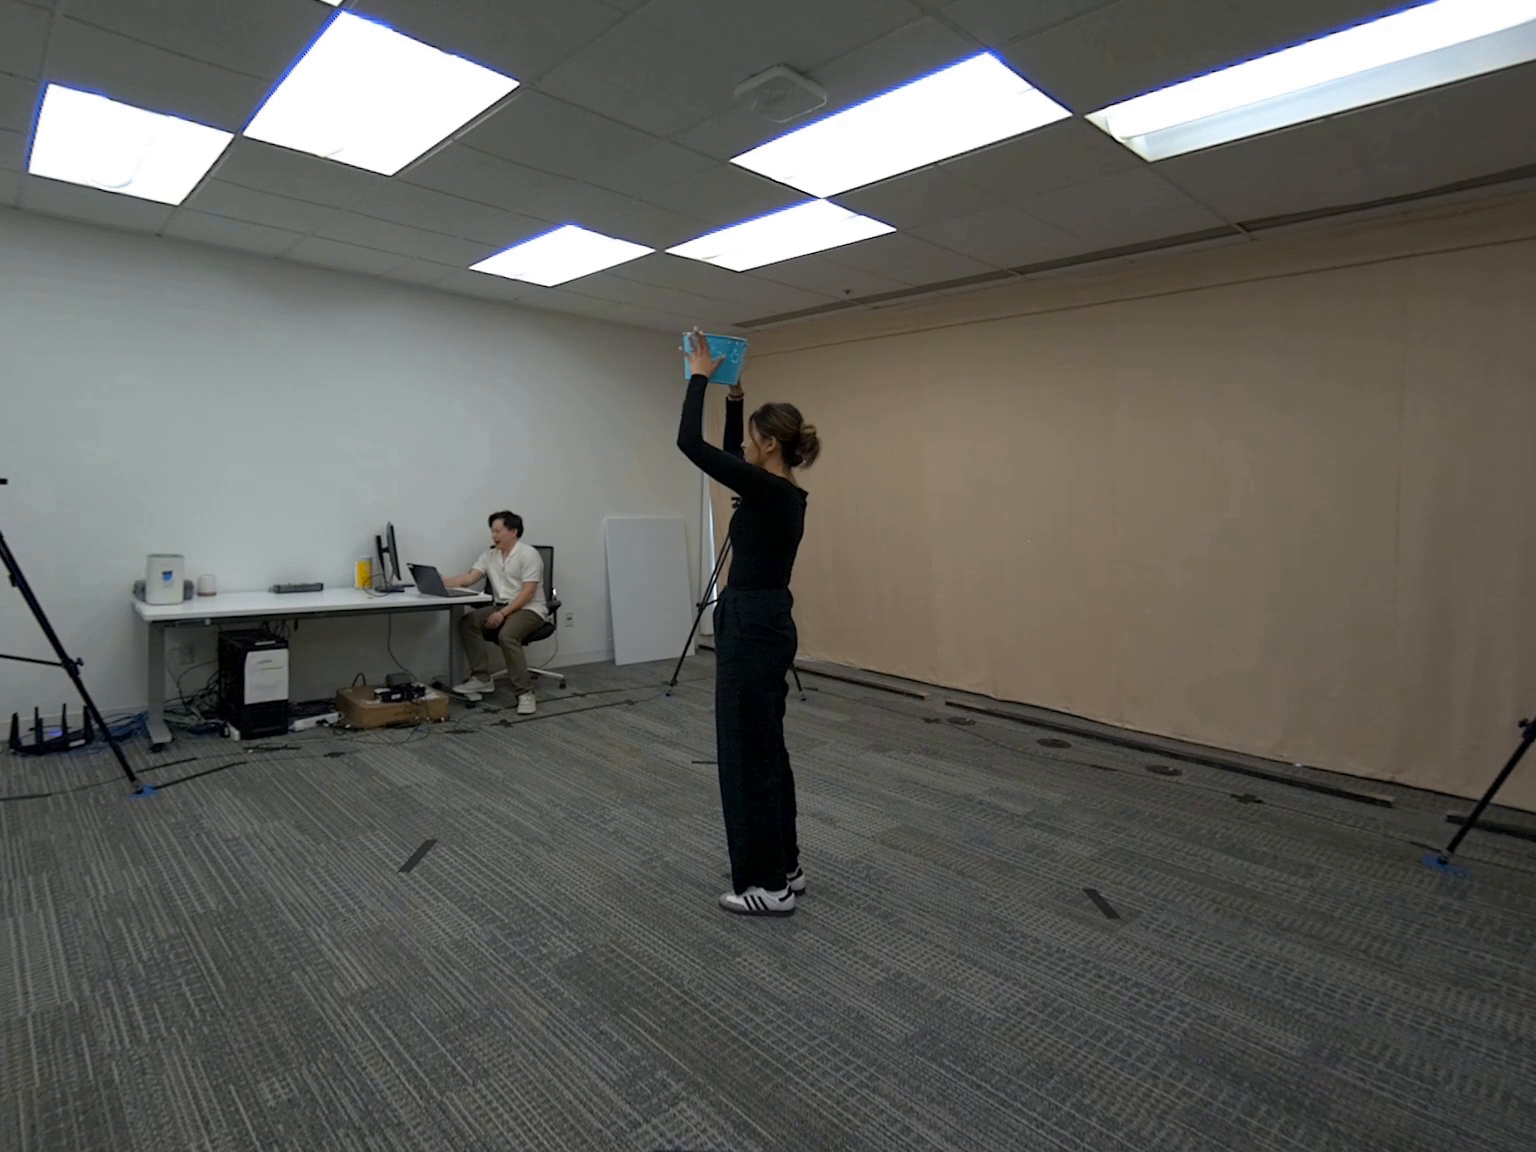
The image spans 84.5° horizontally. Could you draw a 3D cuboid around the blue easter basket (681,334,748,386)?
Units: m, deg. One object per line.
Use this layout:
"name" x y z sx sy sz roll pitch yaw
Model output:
"blue easter basket" -0.200 -0.745 2.926 0.243 0.155 0.245 4 10 -2
